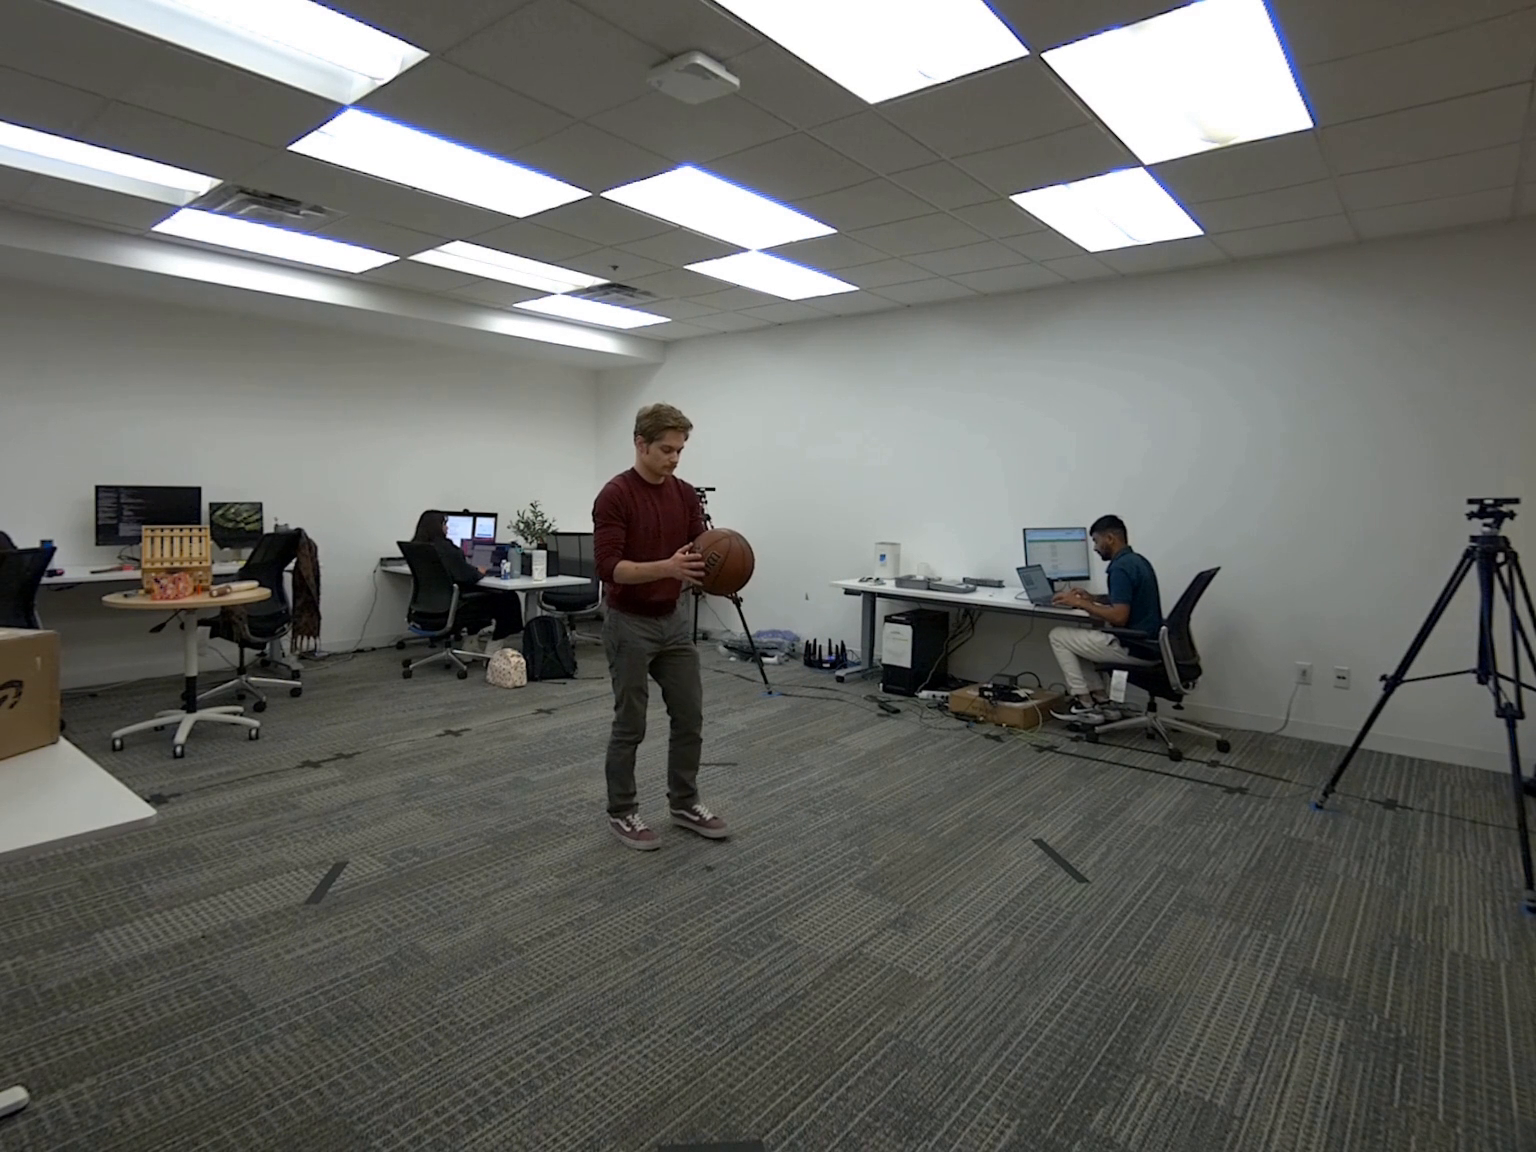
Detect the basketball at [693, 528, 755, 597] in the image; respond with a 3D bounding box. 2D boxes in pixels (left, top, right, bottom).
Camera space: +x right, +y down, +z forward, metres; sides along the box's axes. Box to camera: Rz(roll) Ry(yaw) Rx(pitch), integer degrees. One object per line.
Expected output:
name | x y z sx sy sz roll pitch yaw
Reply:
basketball | -0.168 -0.053 2.990 0.235 0.235 0.237 1 4 -2
